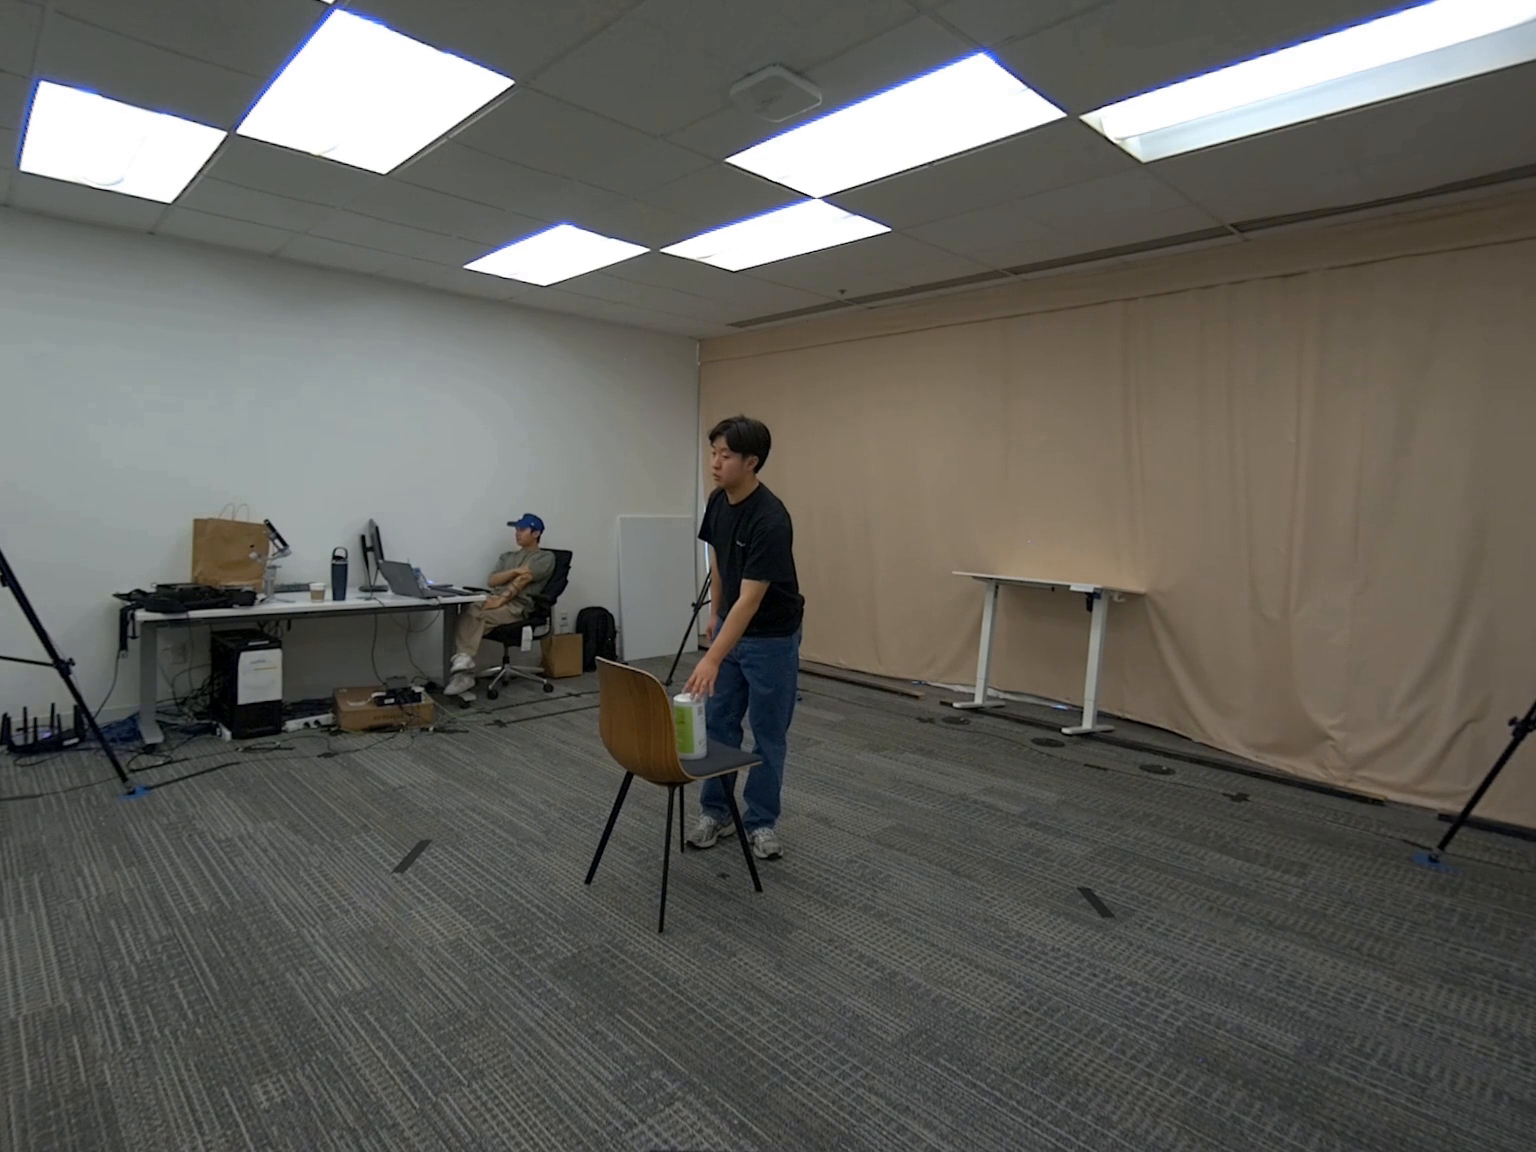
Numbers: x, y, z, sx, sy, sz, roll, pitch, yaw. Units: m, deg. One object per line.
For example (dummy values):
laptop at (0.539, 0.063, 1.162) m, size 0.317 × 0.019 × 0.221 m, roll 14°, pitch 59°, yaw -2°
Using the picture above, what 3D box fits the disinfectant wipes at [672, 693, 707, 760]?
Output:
disinfectant wipes at (-0.277, 0.536, 2.968) m, size 0.118 × 0.216 × 0.118 m, roll -2°, pitch 5°, yaw -1°
